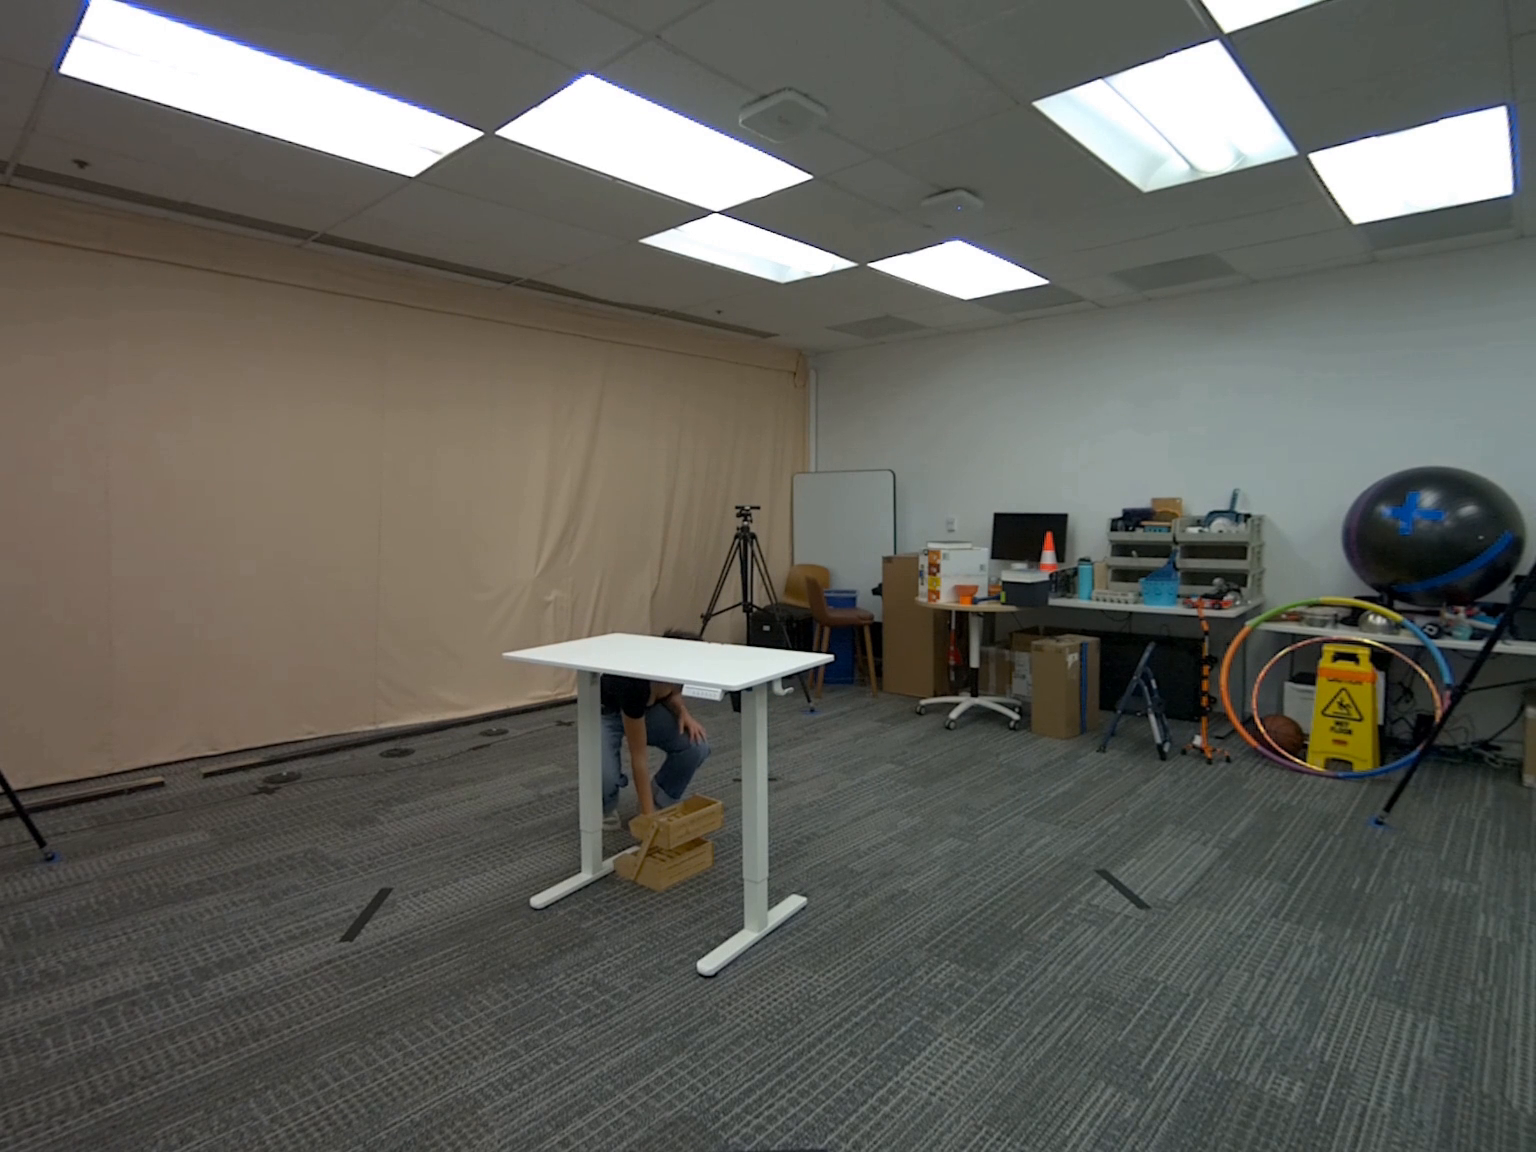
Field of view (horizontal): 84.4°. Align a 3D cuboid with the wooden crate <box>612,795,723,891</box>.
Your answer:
[{"bbox_3d":[-0.382,0.992,3.215,0.312,0.273,0.315,3,5,39],"label":"wooden crate"}]
